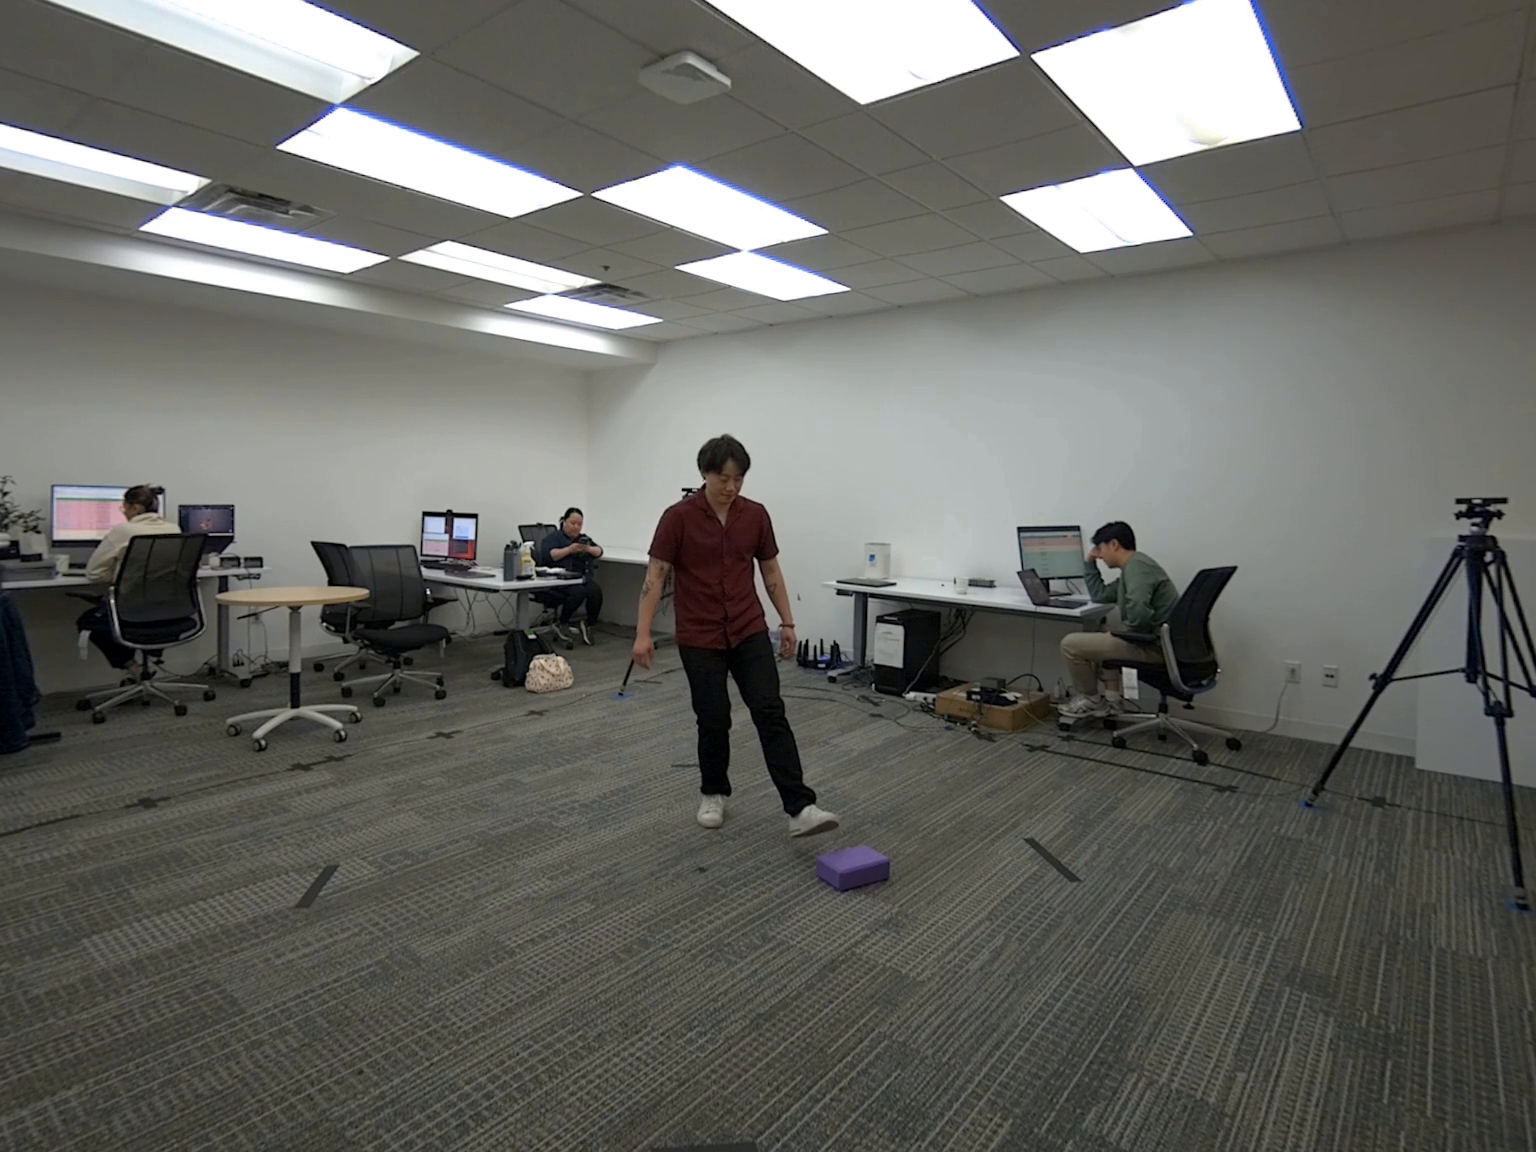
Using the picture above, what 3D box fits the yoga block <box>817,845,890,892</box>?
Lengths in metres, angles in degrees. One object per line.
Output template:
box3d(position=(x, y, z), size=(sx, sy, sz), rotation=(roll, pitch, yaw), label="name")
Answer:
box3d(position=(0.300, 1.040, 3.067), size=(0.223, 0.076, 0.154), rotation=(-2, 7, -31), label="yoga block")
